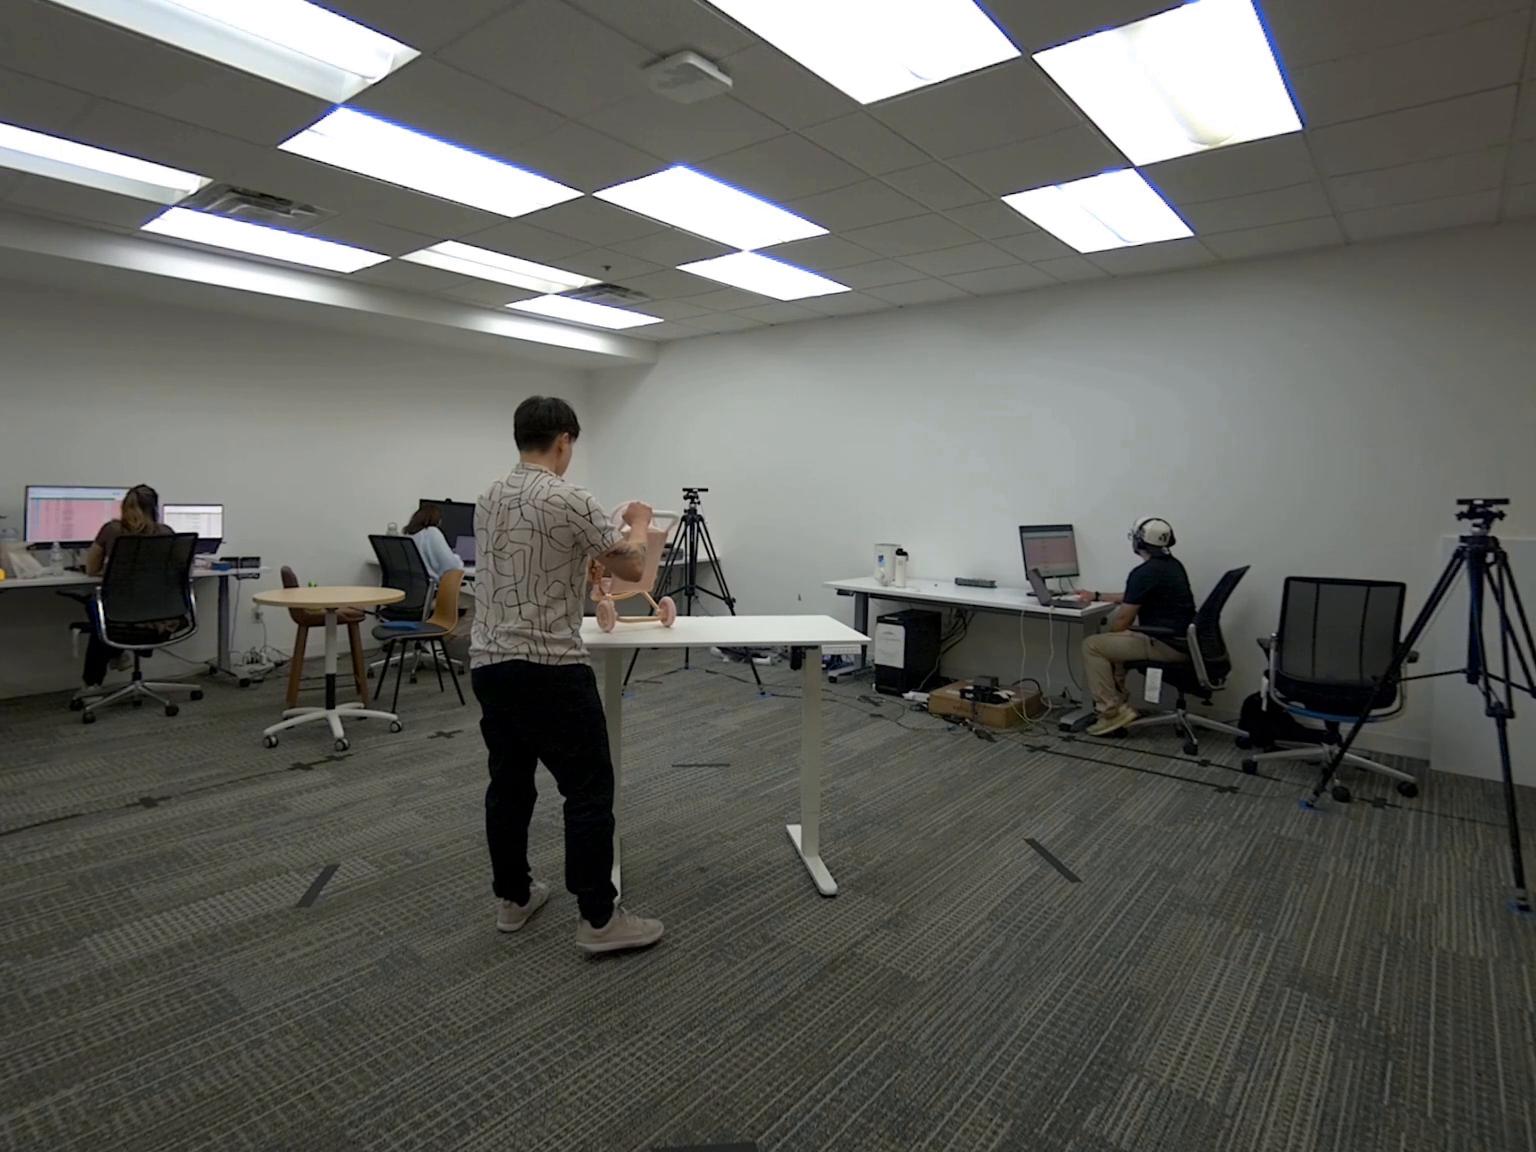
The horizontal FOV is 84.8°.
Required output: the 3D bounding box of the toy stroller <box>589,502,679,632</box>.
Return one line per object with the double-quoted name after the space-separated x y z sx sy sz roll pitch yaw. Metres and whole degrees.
-0.511 -0.037 3.101 0.274 0.528 0.355 -1 19 -30 "toy stroller"
